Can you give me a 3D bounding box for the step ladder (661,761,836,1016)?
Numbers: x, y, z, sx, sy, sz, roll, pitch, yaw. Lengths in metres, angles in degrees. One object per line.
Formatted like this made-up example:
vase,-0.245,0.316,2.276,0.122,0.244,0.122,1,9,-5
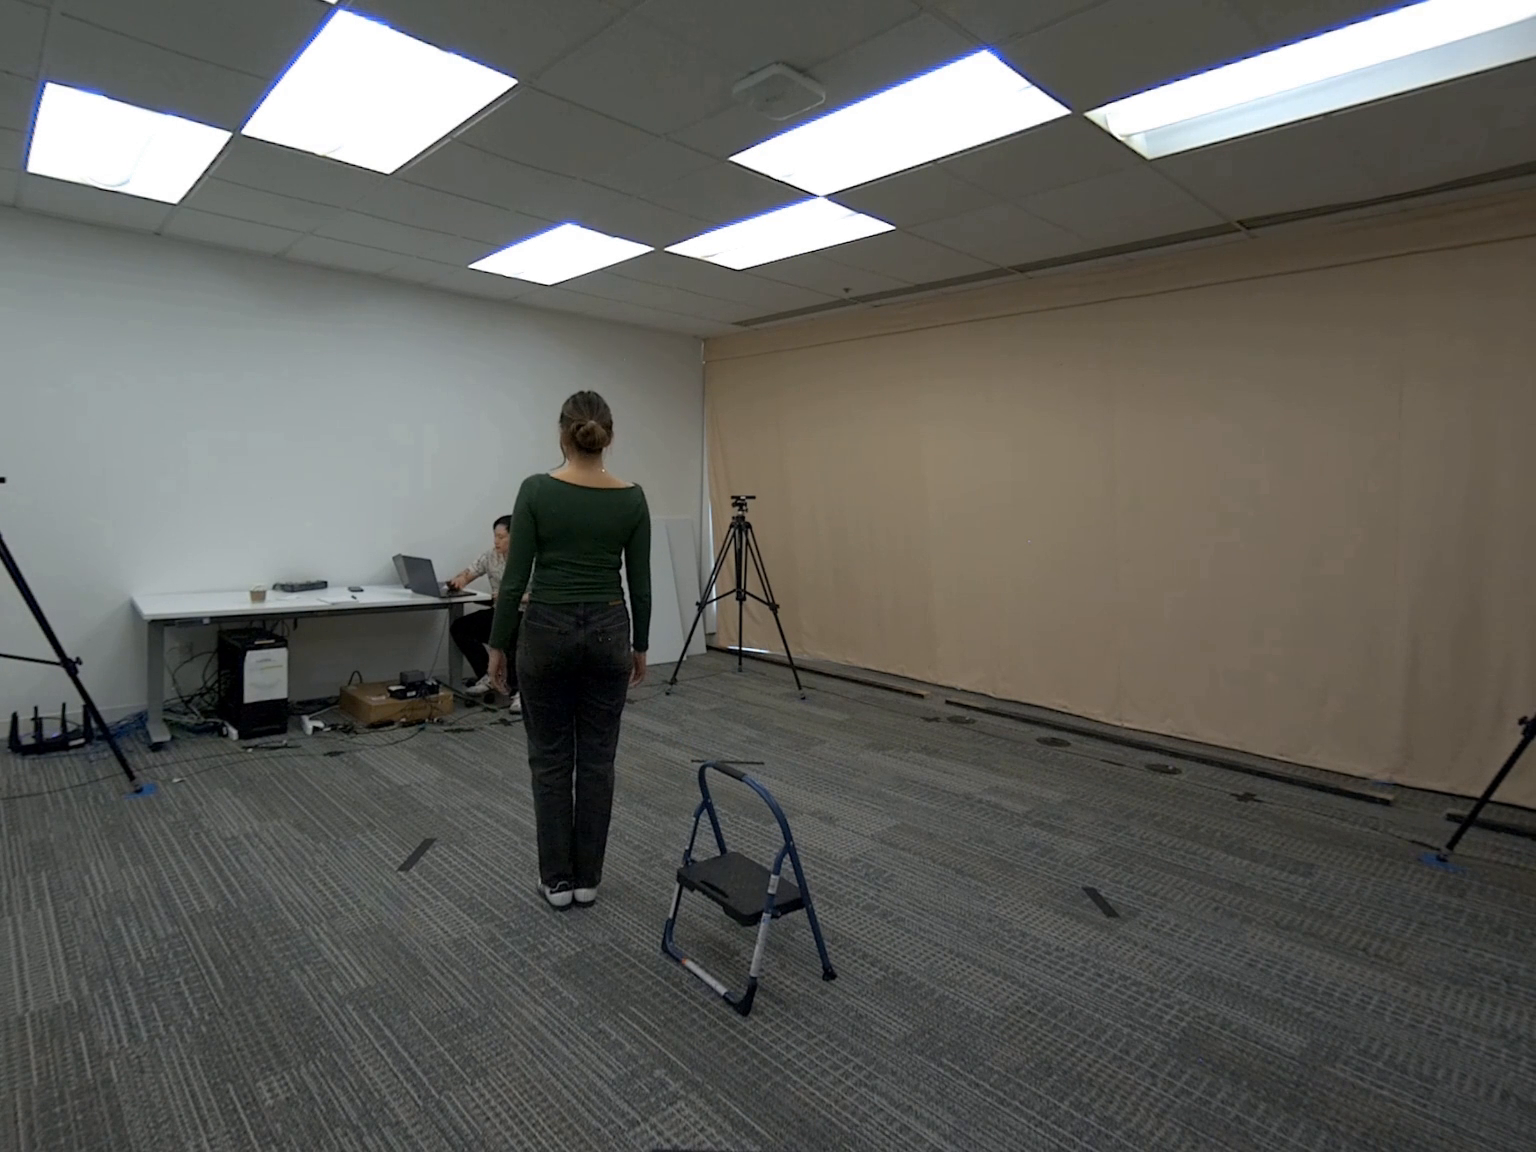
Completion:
step ladder,-0.064,0.858,2.496,0.341,0.604,0.441,-2,5,-40
